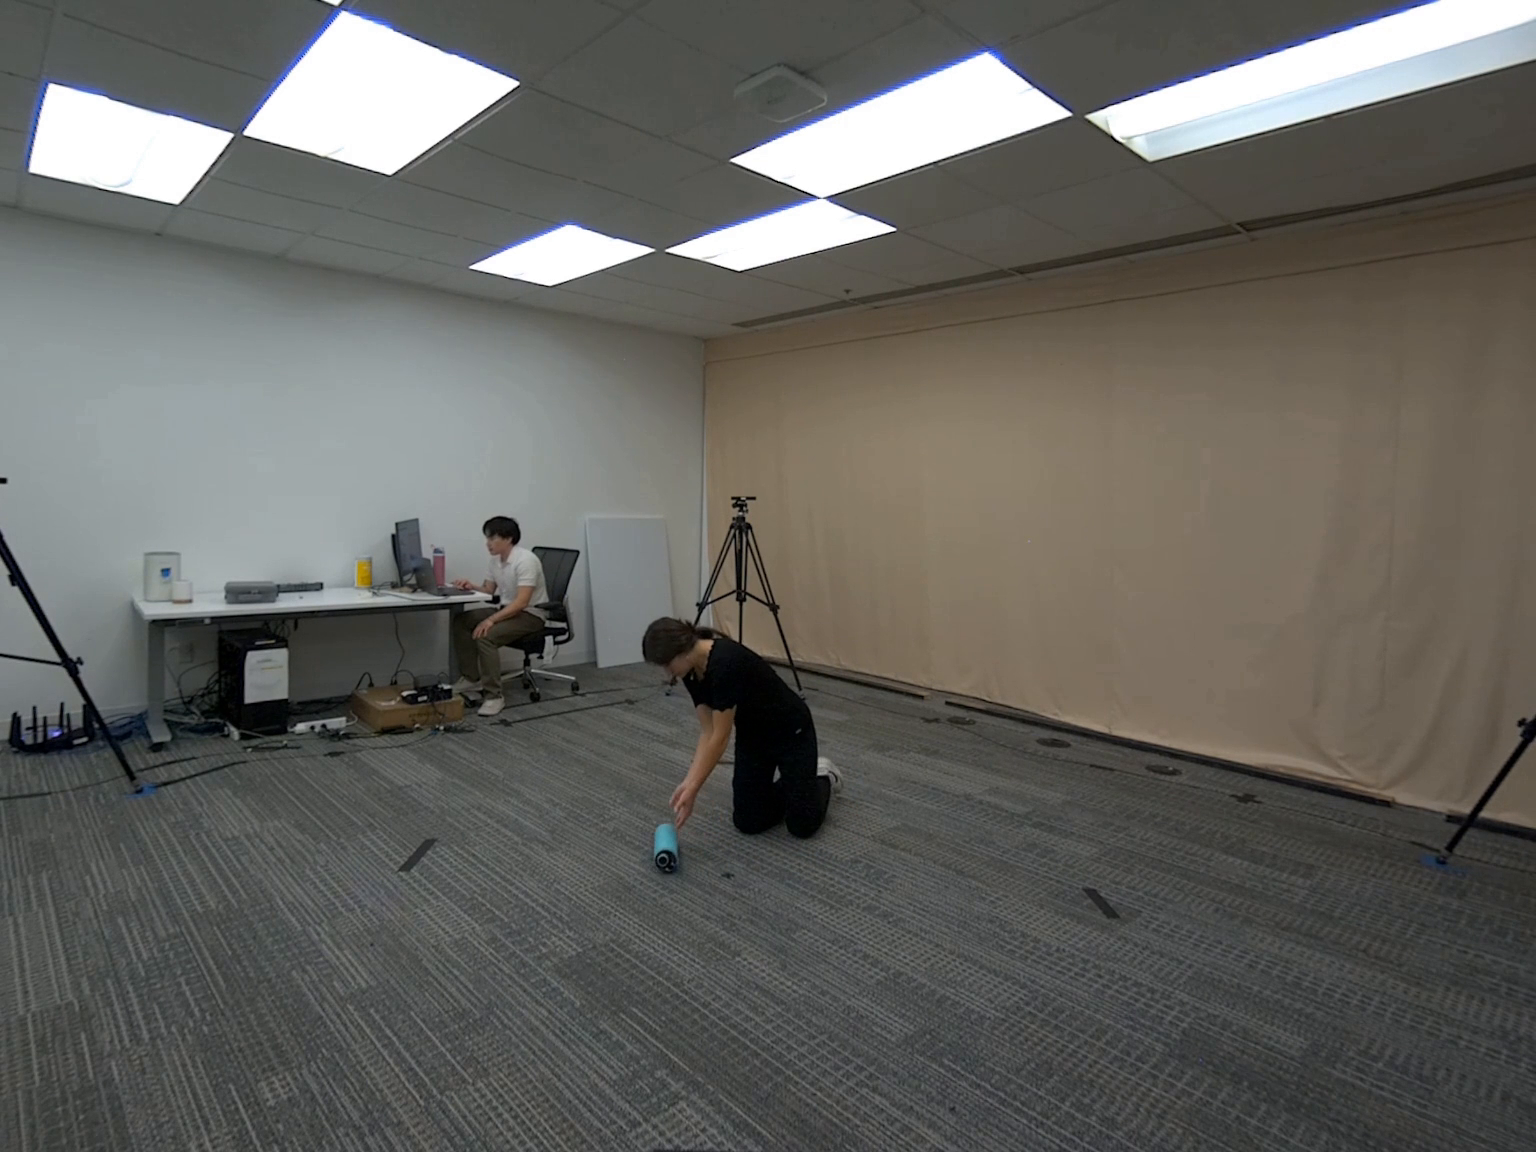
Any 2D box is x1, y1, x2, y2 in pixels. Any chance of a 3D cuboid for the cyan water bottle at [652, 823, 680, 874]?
[{"bbox_3d":[-0.399,1.044,3.216,0.092,0.092,0.285,1,5,-5],"label":"cyan water bottle"}]
